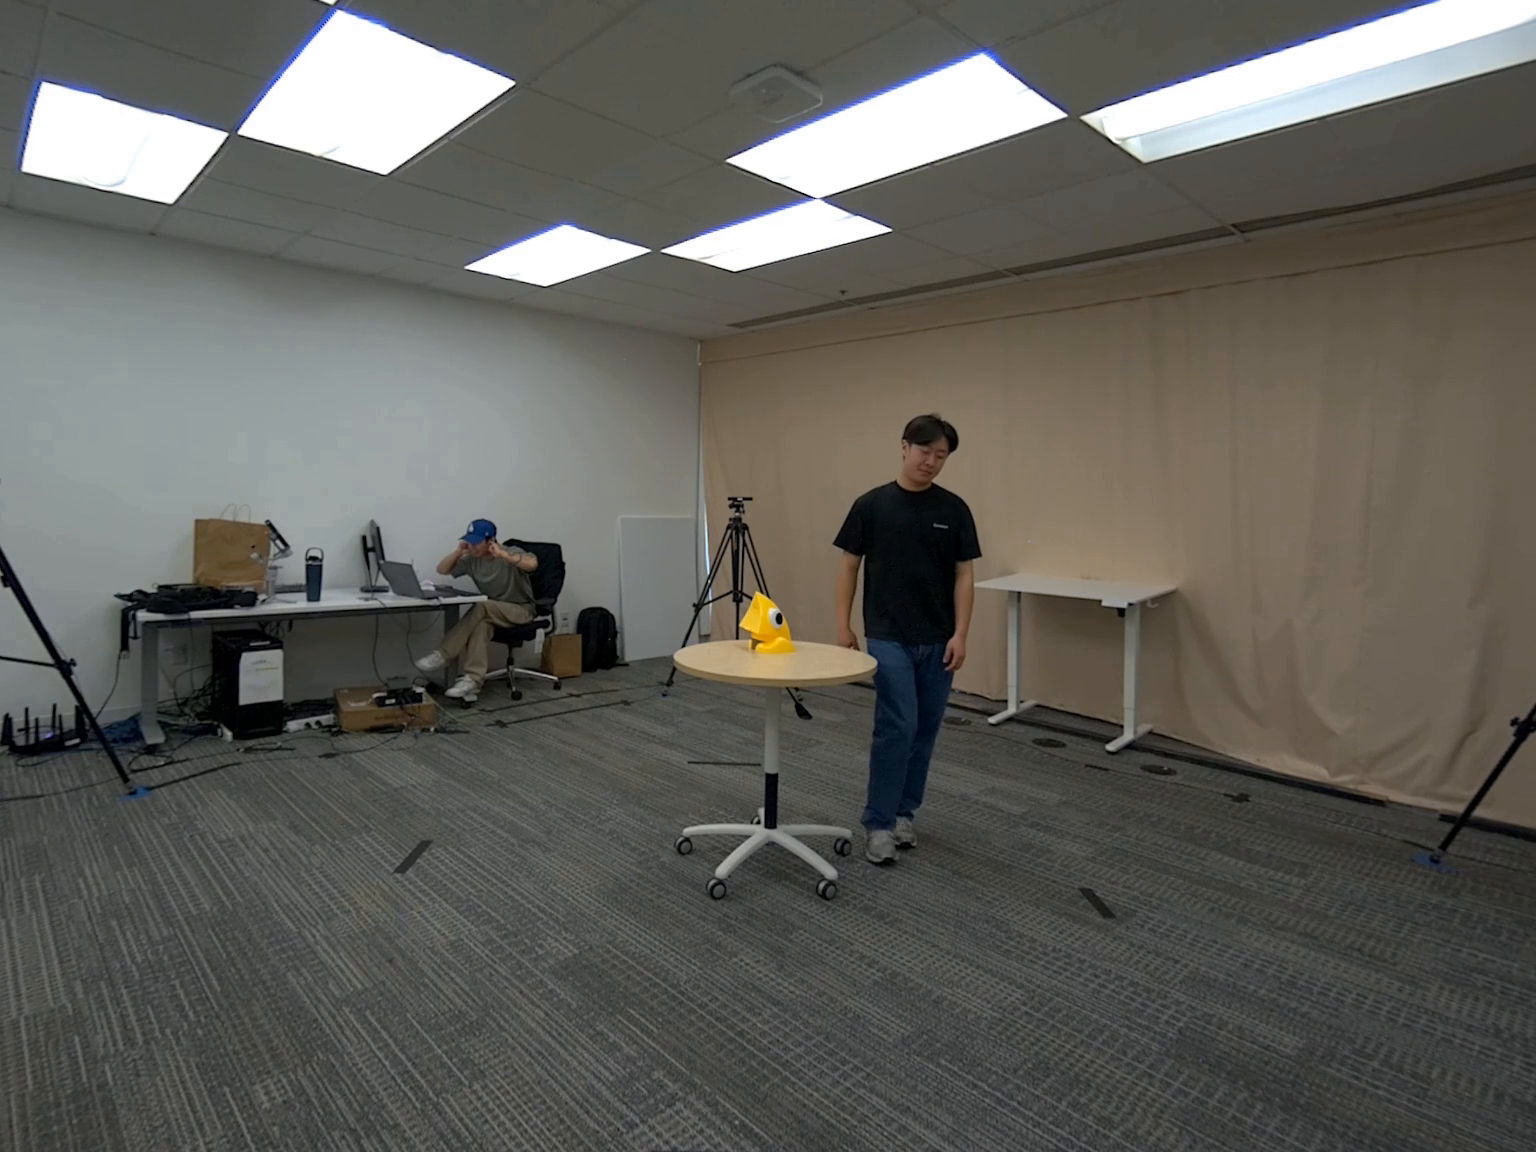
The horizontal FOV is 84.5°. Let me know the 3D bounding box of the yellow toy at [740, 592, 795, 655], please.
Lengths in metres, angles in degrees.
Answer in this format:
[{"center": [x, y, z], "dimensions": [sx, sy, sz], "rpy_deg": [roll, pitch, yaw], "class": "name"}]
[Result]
[{"center": [-0.004, 0.175, 3.357], "dimensions": [0.190, 0.230, 0.208], "rpy_deg": [-1, 4, -22], "class": "yellow toy"}]
